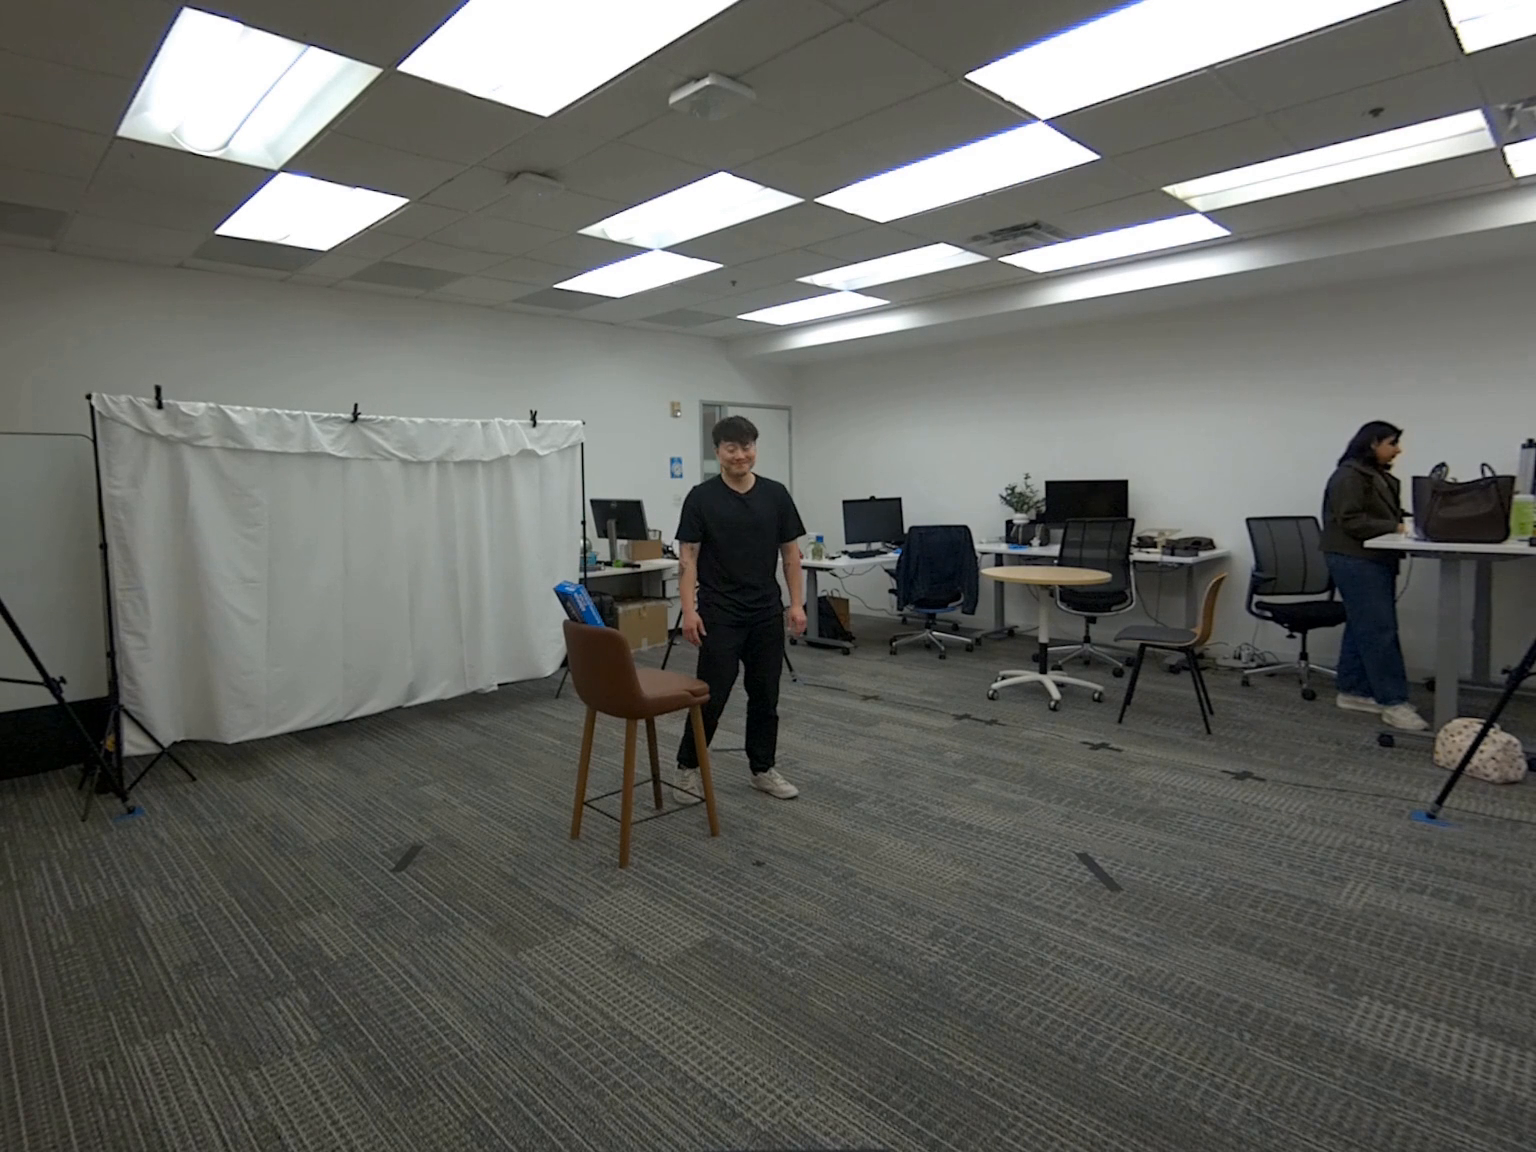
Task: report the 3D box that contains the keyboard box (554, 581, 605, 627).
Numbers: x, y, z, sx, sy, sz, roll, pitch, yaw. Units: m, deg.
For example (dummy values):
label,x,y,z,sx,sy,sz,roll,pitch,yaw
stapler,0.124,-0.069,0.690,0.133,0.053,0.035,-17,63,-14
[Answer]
label,x,y,z,sx,sy,sz,roll,pitch,yaw
keyboard box,-0.667,0.224,3.280,0.059,0.427,0.181,-35,23,-28
